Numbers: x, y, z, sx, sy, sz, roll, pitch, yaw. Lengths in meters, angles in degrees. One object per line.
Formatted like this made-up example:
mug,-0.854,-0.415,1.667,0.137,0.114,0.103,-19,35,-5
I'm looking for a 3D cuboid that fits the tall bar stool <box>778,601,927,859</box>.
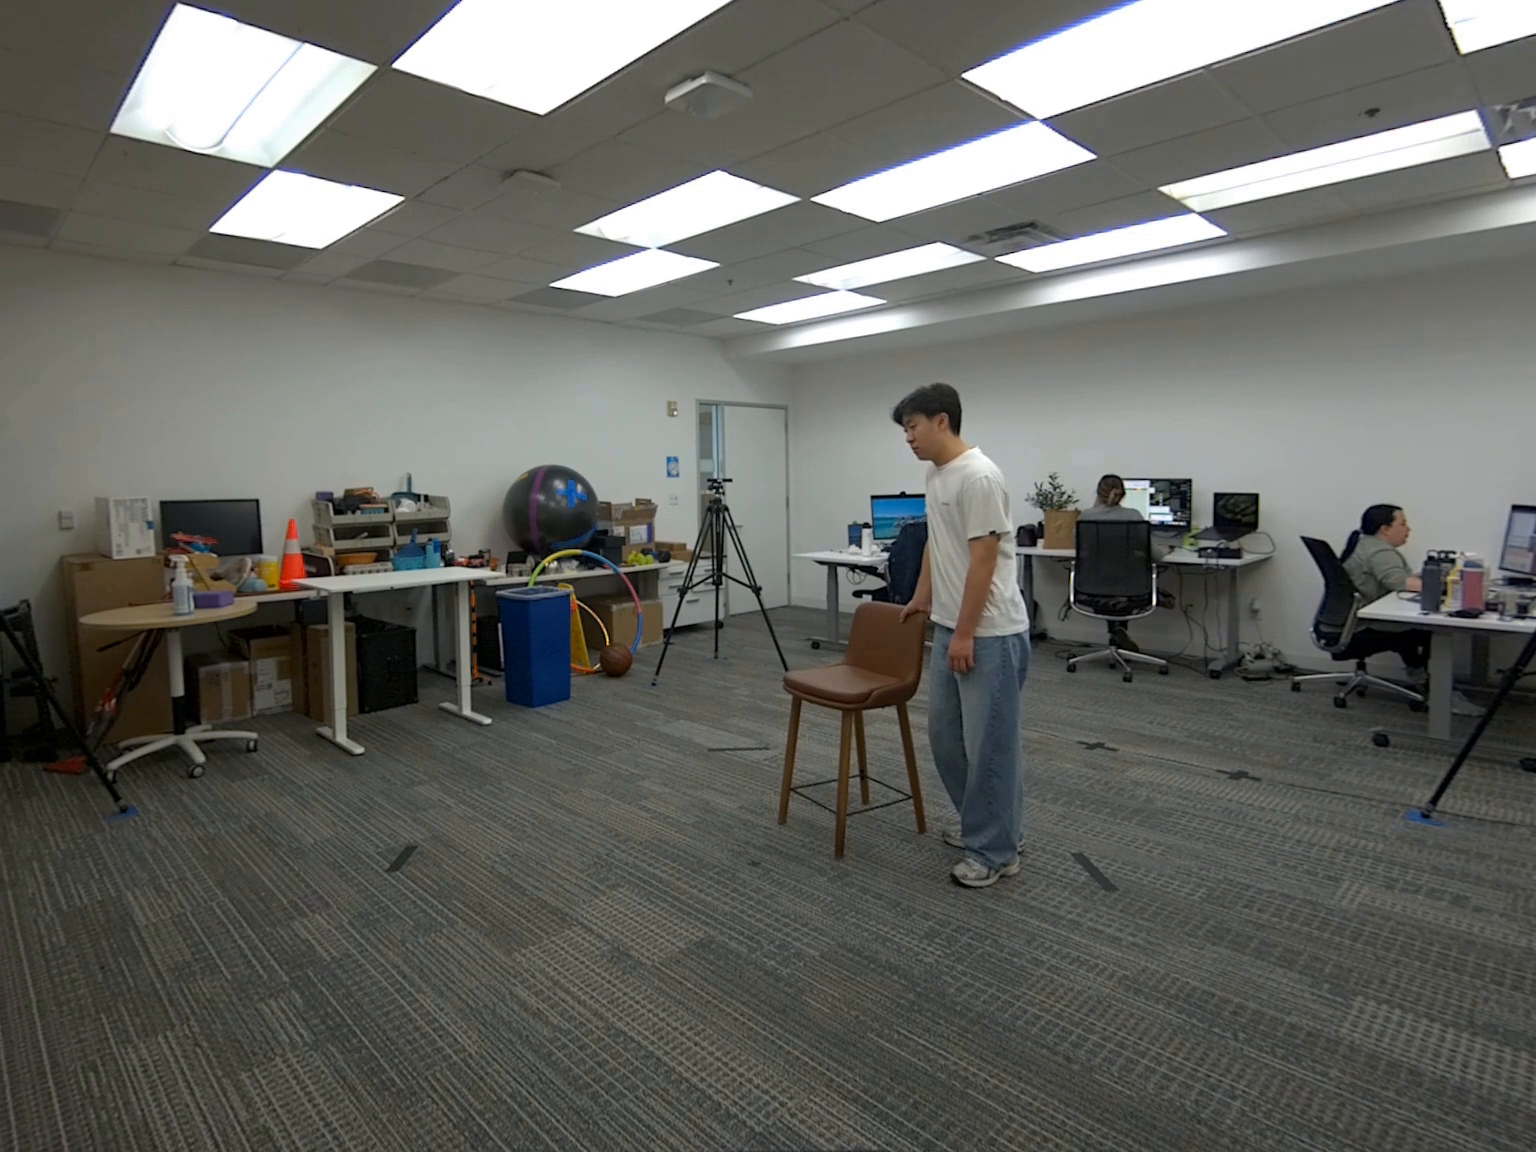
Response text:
tall bar stool,0.340,0.570,3.393,0.456,0.888,0.469,-1,3,-32
